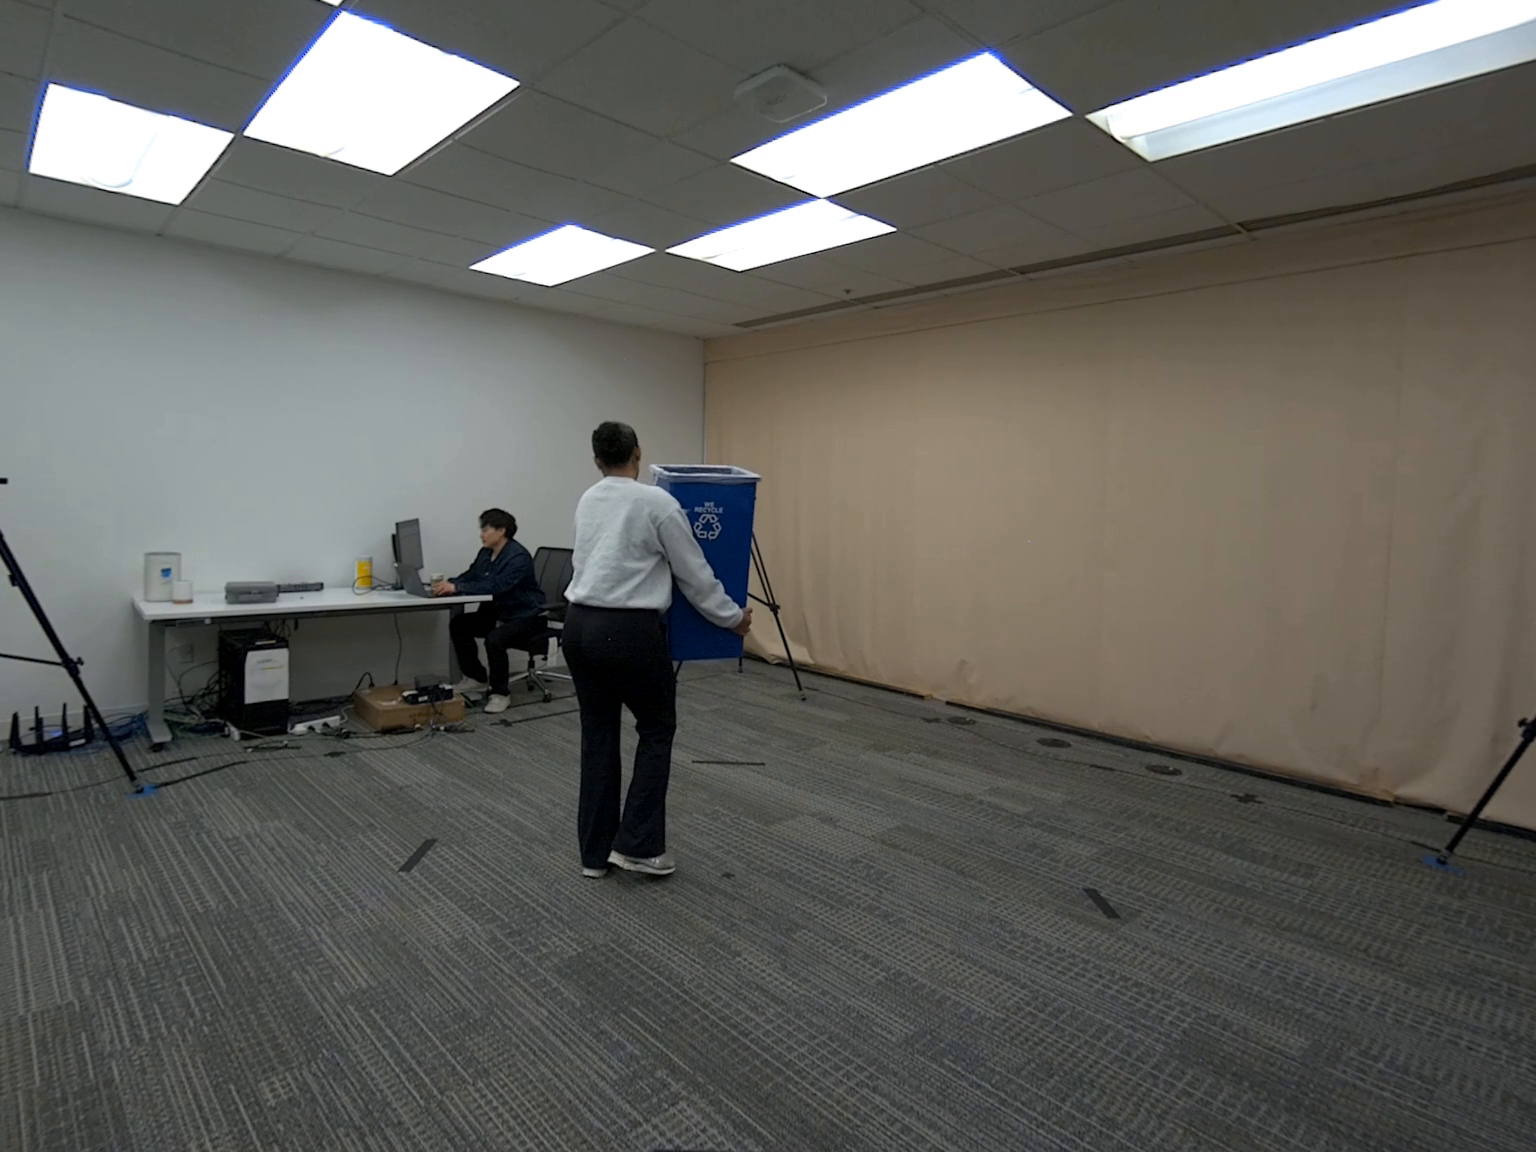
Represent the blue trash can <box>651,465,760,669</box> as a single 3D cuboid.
[{"bbox_3d":[-0.268,-0.060,3.293,0.372,0.708,0.382,0,11,-21],"label":"blue trash can"}]
